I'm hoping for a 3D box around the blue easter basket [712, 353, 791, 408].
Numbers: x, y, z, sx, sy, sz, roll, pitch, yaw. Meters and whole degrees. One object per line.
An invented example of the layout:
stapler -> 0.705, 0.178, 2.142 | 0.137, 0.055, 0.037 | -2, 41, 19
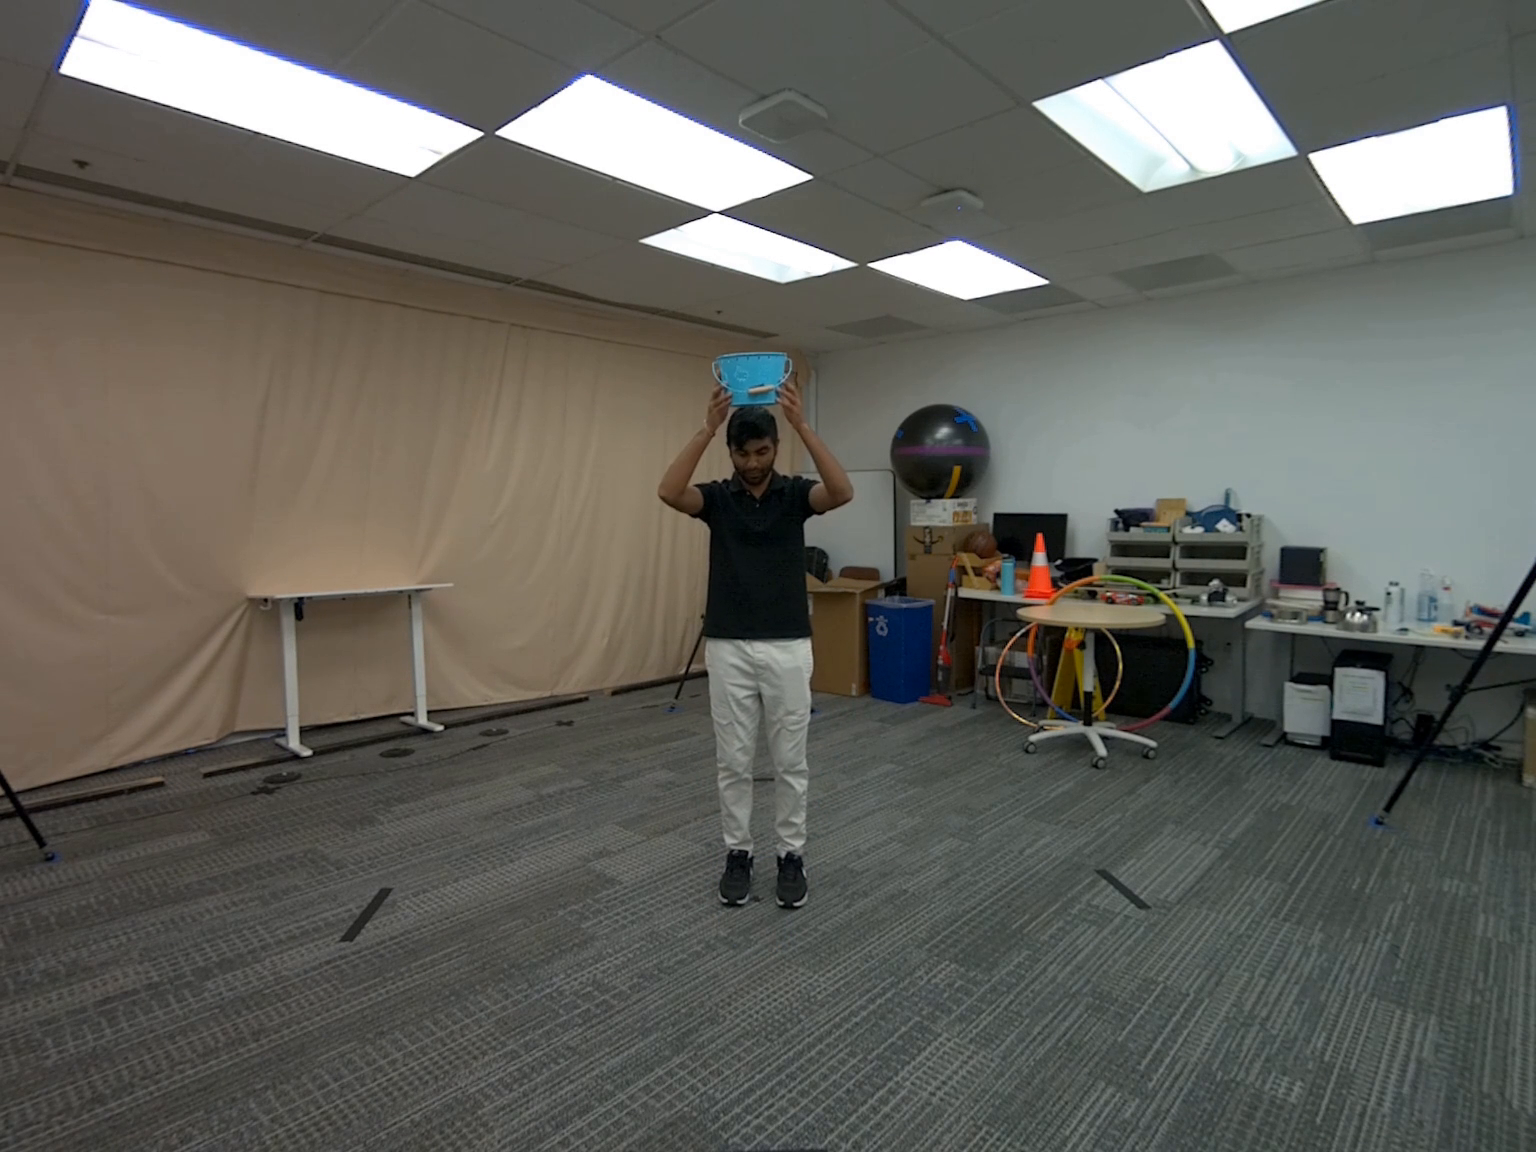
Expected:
blue easter basket -> -0.046, -0.621, 2.692 | 0.243, 0.155, 0.245 | -3, 8, -1
